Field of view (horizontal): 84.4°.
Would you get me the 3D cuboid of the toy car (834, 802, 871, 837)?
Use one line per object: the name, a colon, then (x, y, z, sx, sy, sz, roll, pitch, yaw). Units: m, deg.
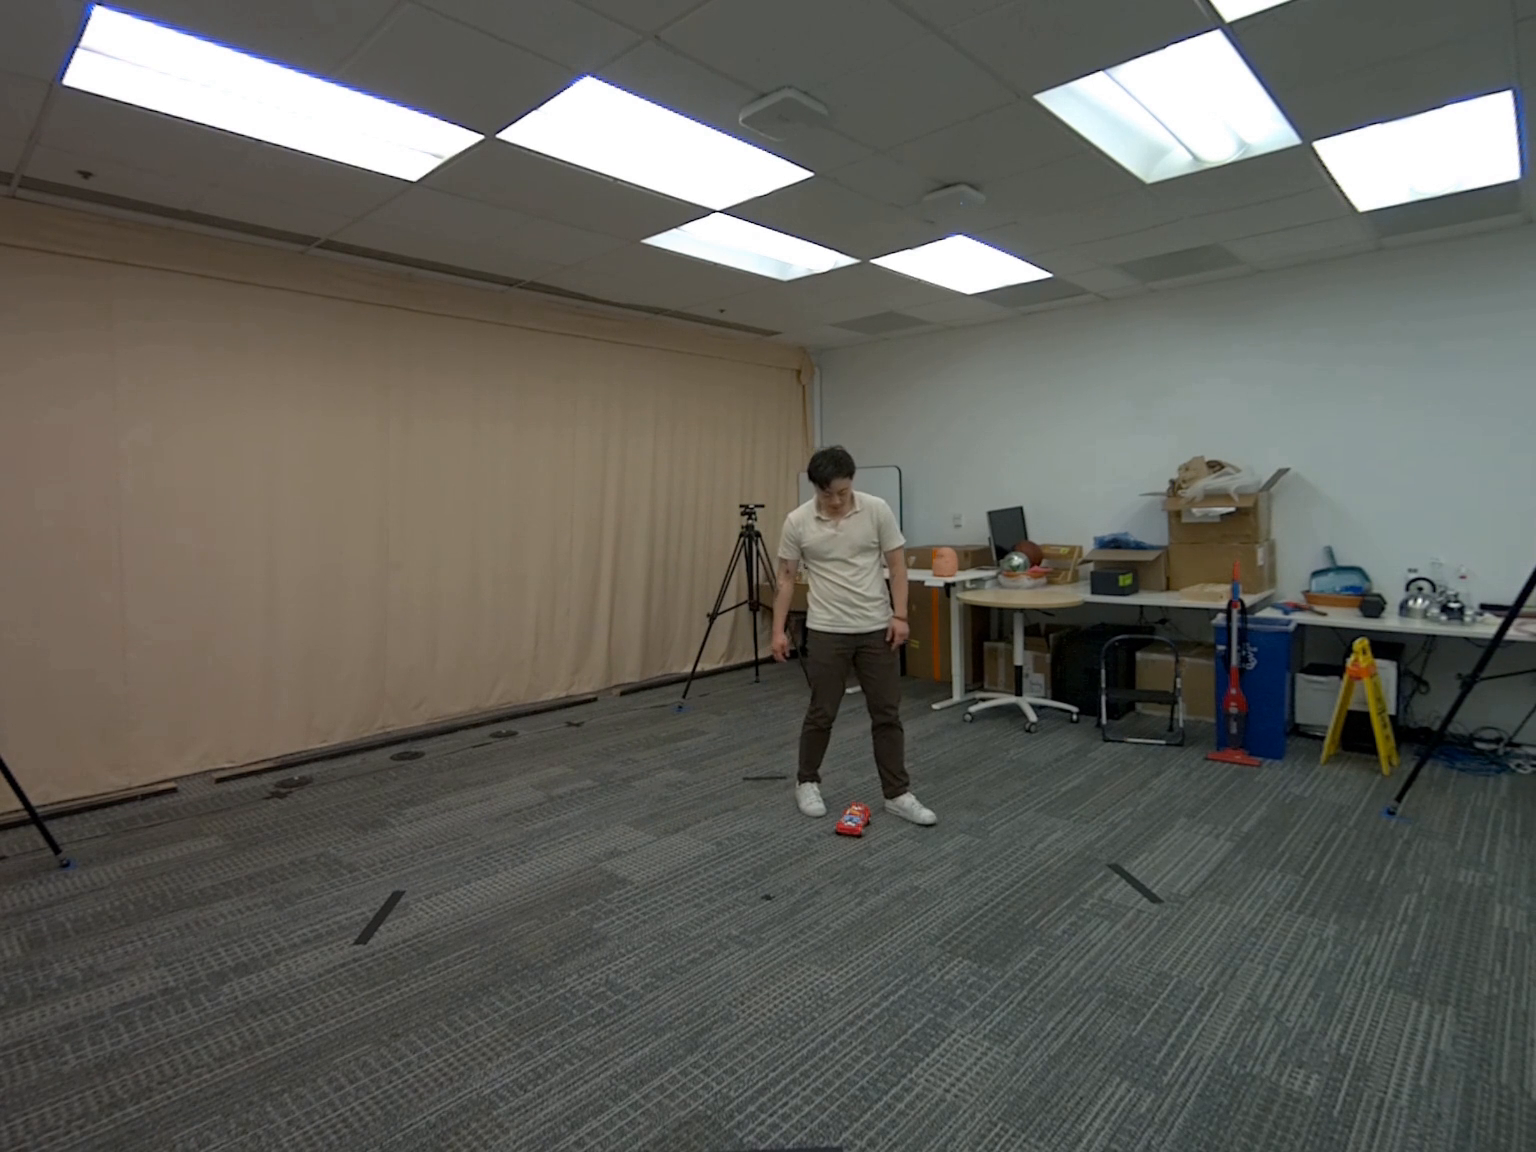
toy car: (0.373, 1.048, 3.612, 0.133, 0.082, 0.252, 0, 15, 19)
